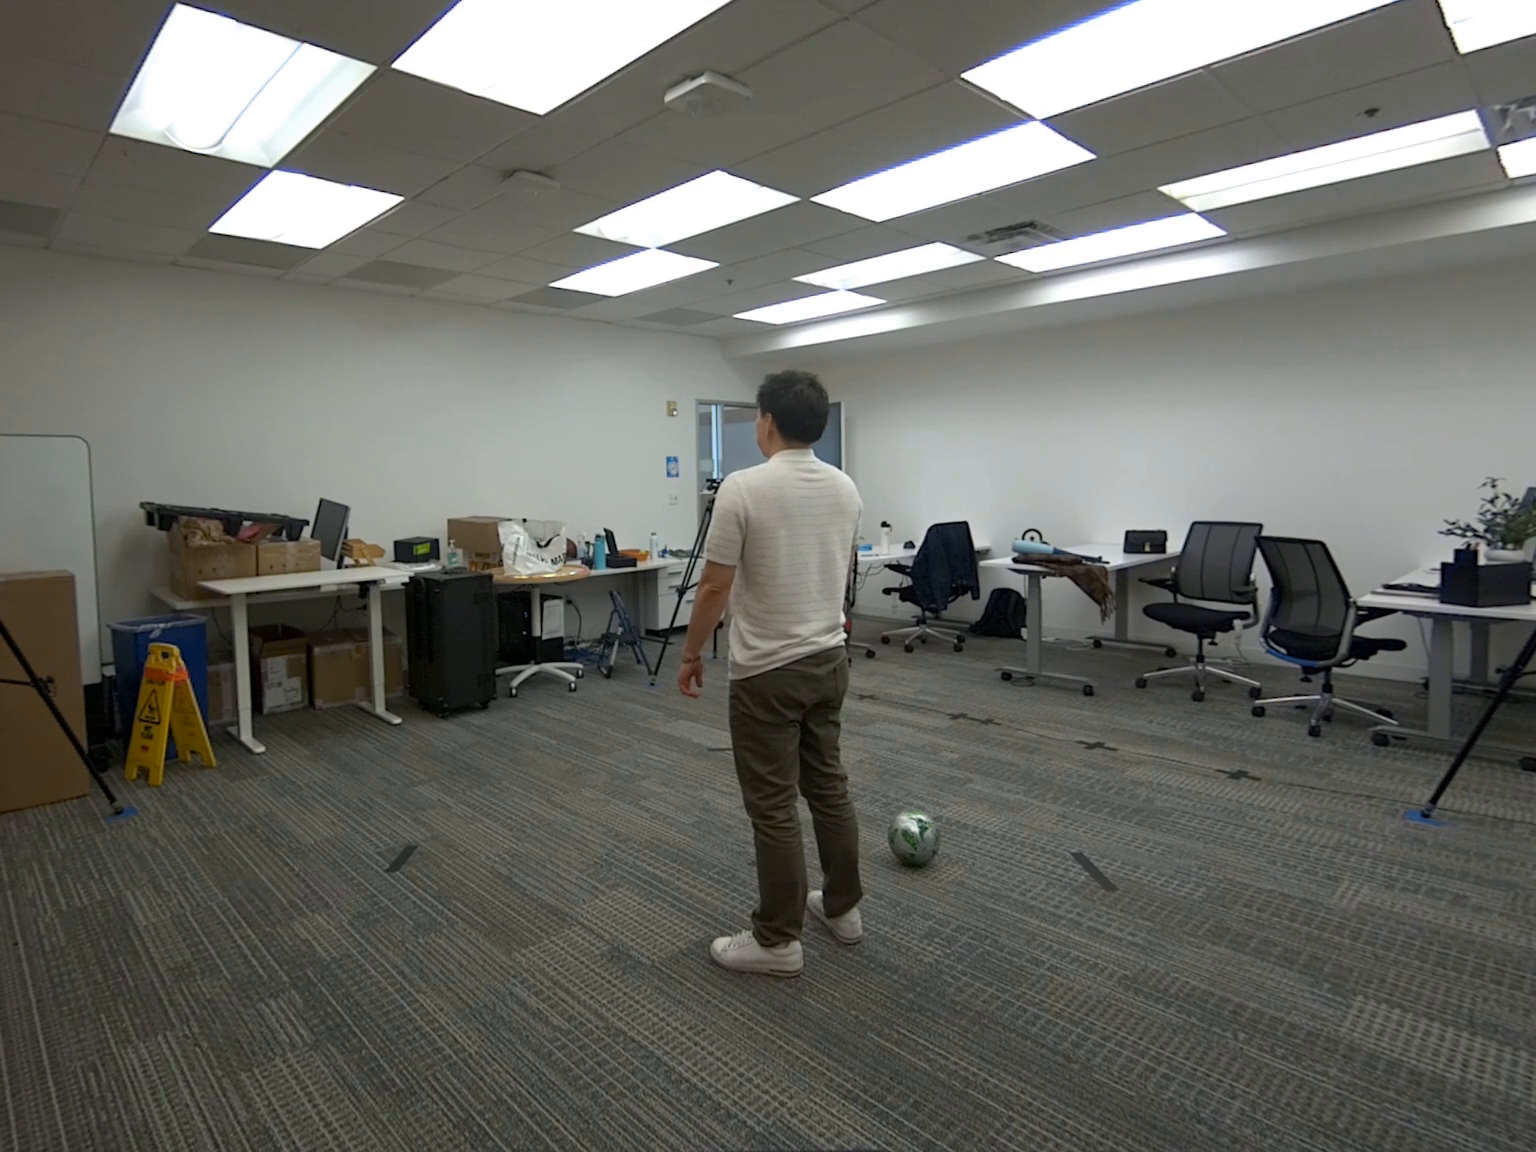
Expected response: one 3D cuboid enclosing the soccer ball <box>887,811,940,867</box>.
[{"bbox_3d":[0.526,0.942,3.084,0.187,0.187,0.188,-1,5,-2],"label":"soccer ball"}]
